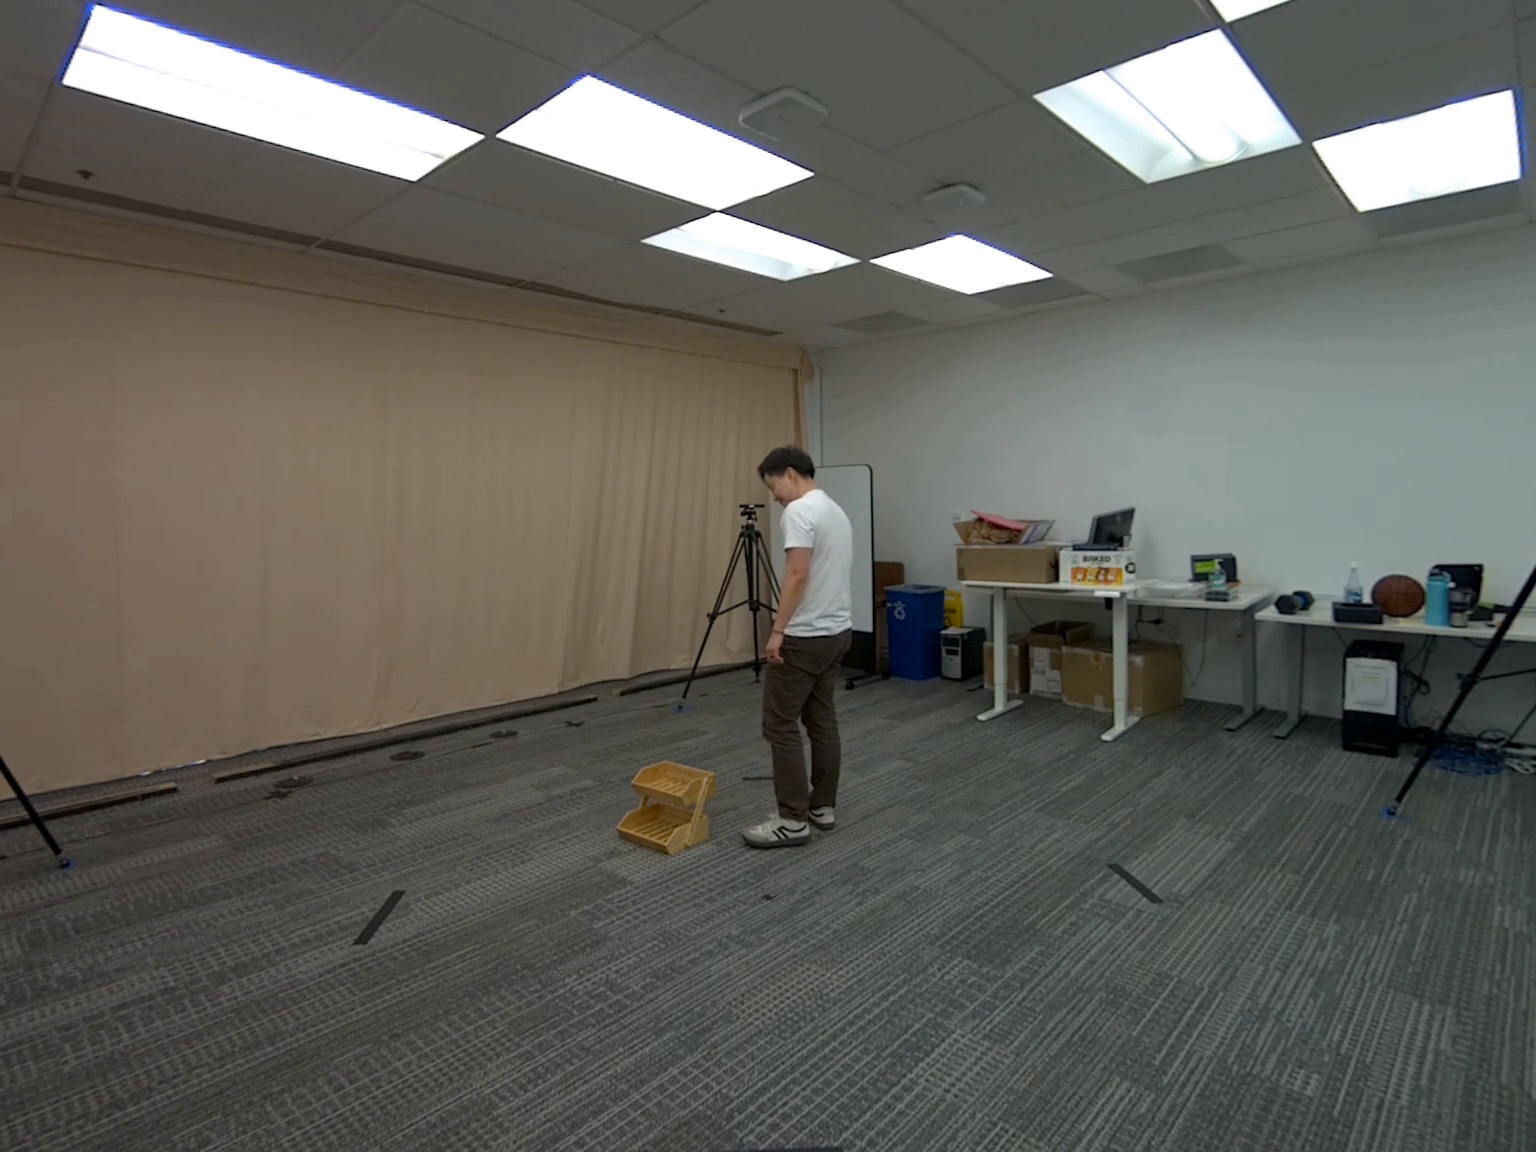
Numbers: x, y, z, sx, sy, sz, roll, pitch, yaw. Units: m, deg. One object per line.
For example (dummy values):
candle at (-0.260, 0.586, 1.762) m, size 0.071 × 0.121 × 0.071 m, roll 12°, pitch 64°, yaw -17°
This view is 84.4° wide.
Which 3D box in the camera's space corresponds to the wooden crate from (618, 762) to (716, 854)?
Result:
wooden crate at (-0.430, 0.967, 3.550) m, size 0.335 × 0.273 × 0.293 m, roll 2°, pitch 4°, yaw 39°
